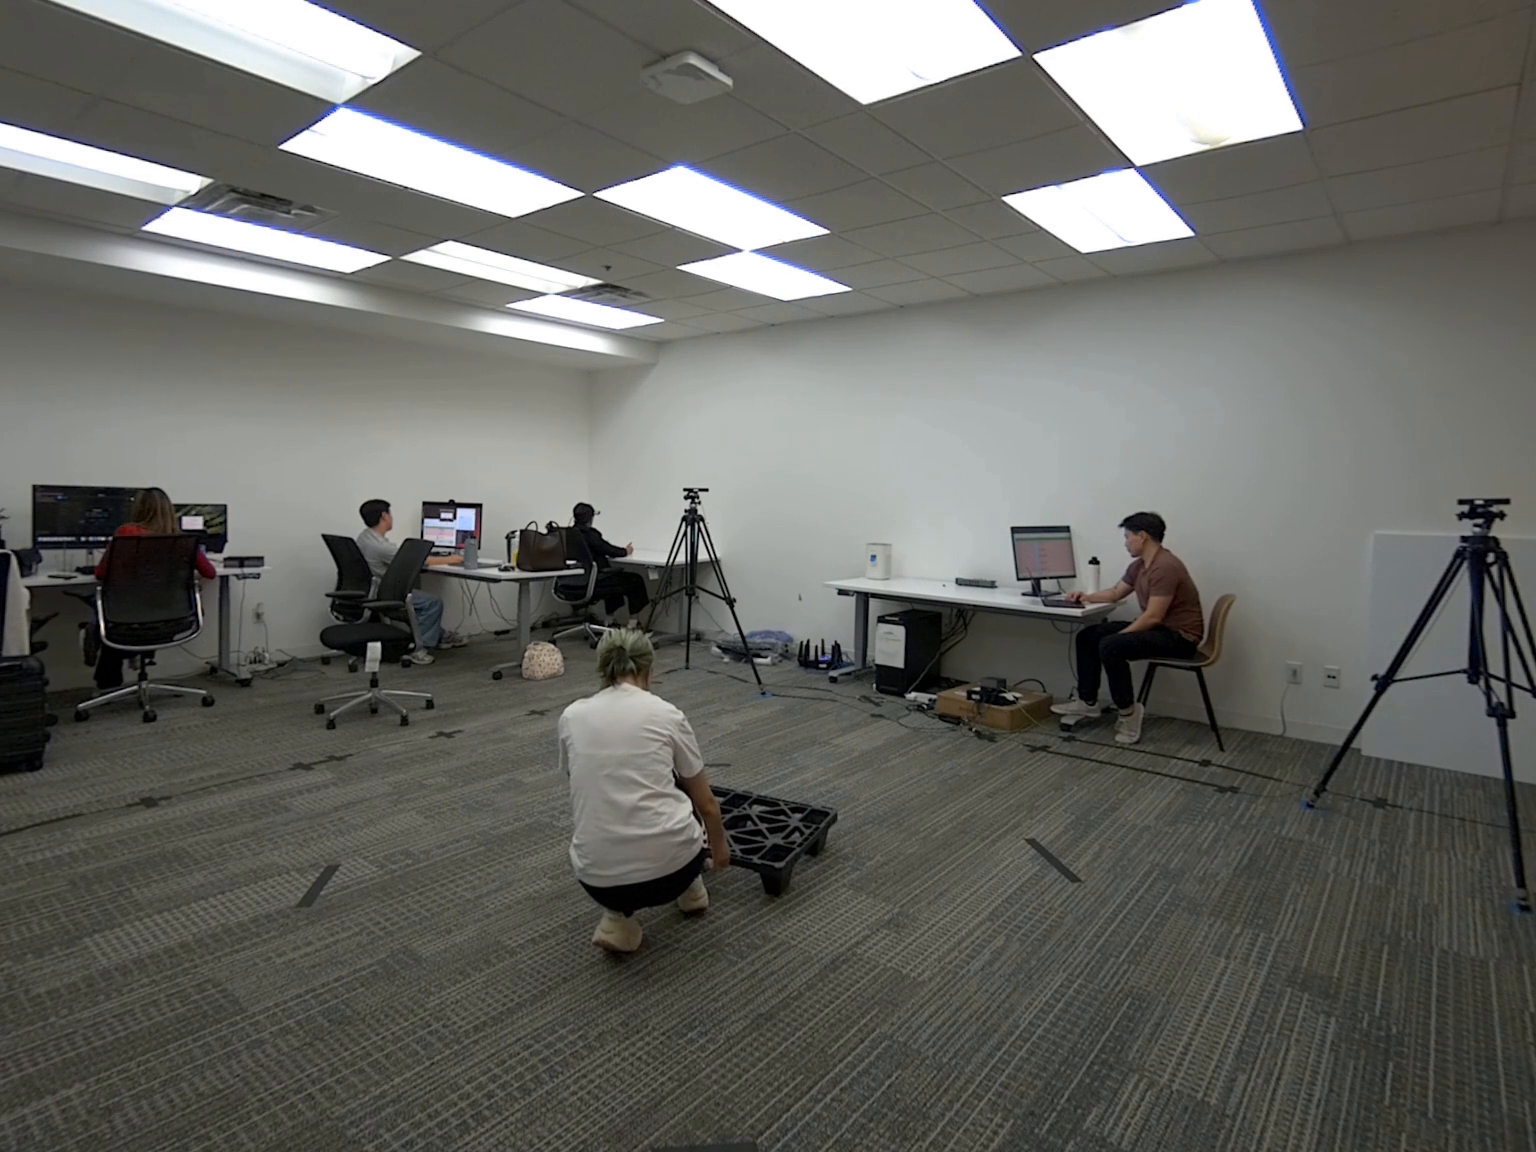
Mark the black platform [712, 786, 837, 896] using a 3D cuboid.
[{"bbox_3d":[-0.207,0.986,3.275,0.827,0.143,0.592,3,6,25],"label":"black platform"}]
